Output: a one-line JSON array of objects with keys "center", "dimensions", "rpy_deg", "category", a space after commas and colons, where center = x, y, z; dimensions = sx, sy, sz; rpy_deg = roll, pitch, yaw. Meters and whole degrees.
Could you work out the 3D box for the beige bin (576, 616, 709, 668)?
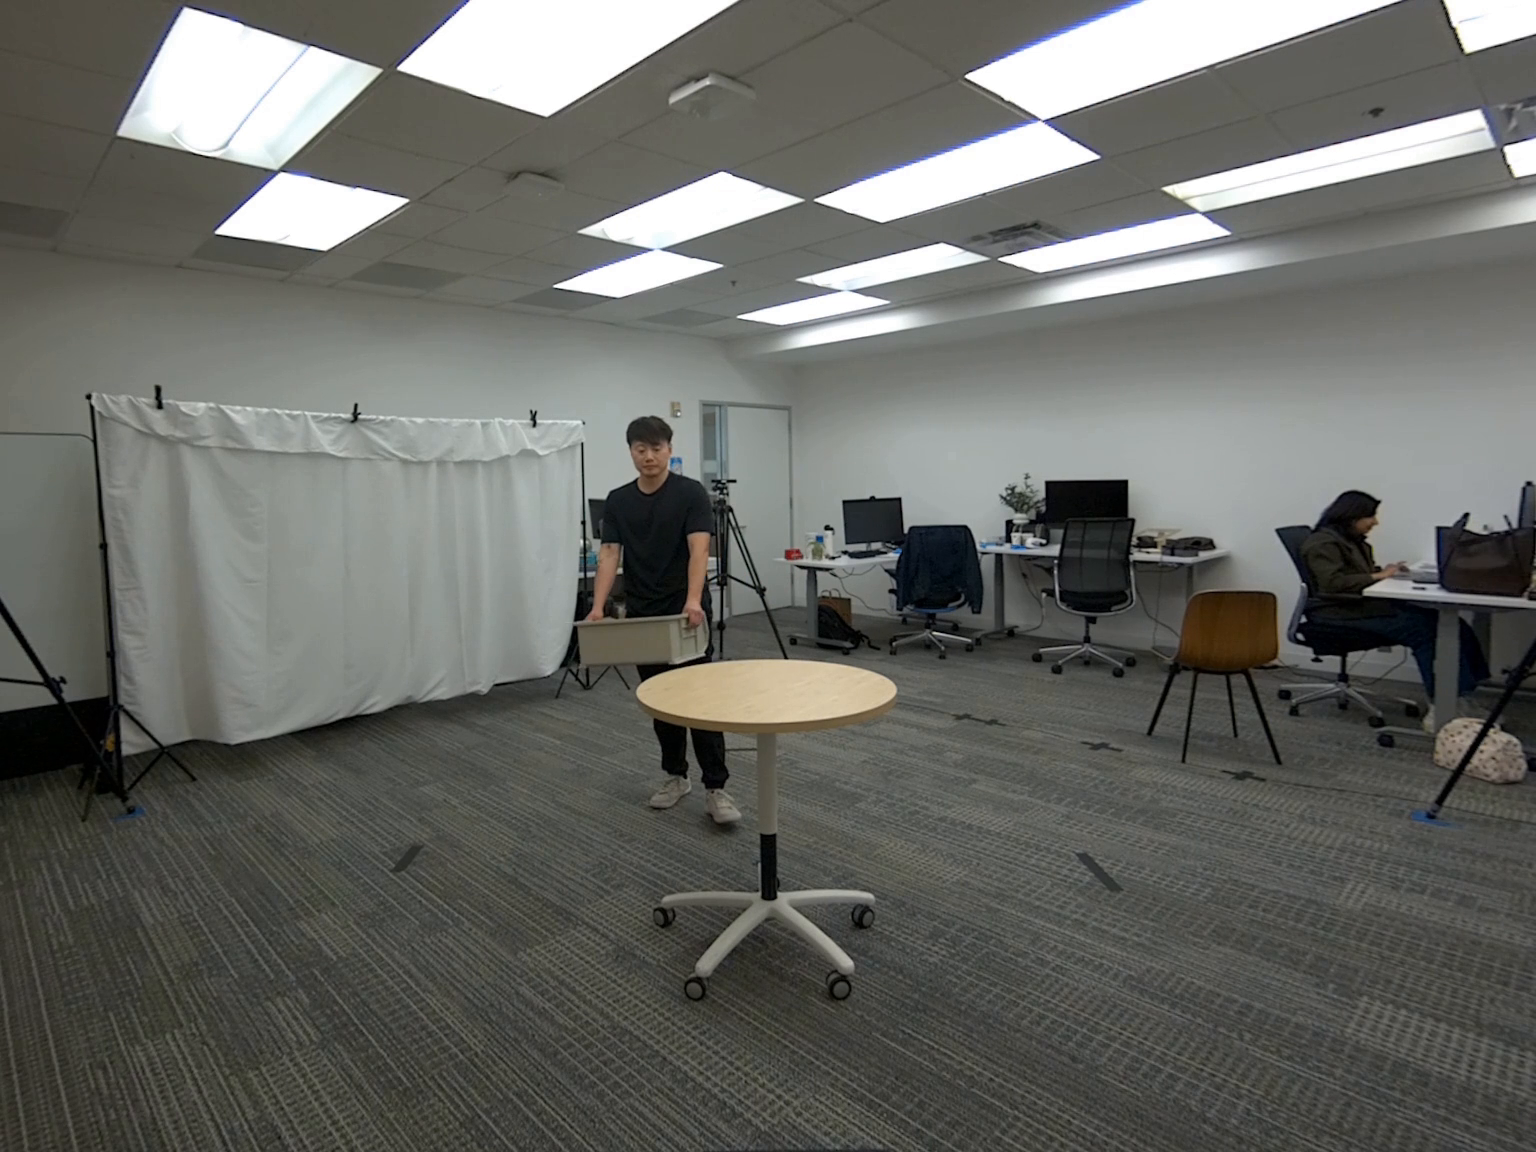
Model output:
[{"center": [-0.491, 0.248, 3.391], "dimensions": [0.429, 0.189, 0.371], "rpy_deg": [-3, 1, 17], "category": "beige bin"}]
